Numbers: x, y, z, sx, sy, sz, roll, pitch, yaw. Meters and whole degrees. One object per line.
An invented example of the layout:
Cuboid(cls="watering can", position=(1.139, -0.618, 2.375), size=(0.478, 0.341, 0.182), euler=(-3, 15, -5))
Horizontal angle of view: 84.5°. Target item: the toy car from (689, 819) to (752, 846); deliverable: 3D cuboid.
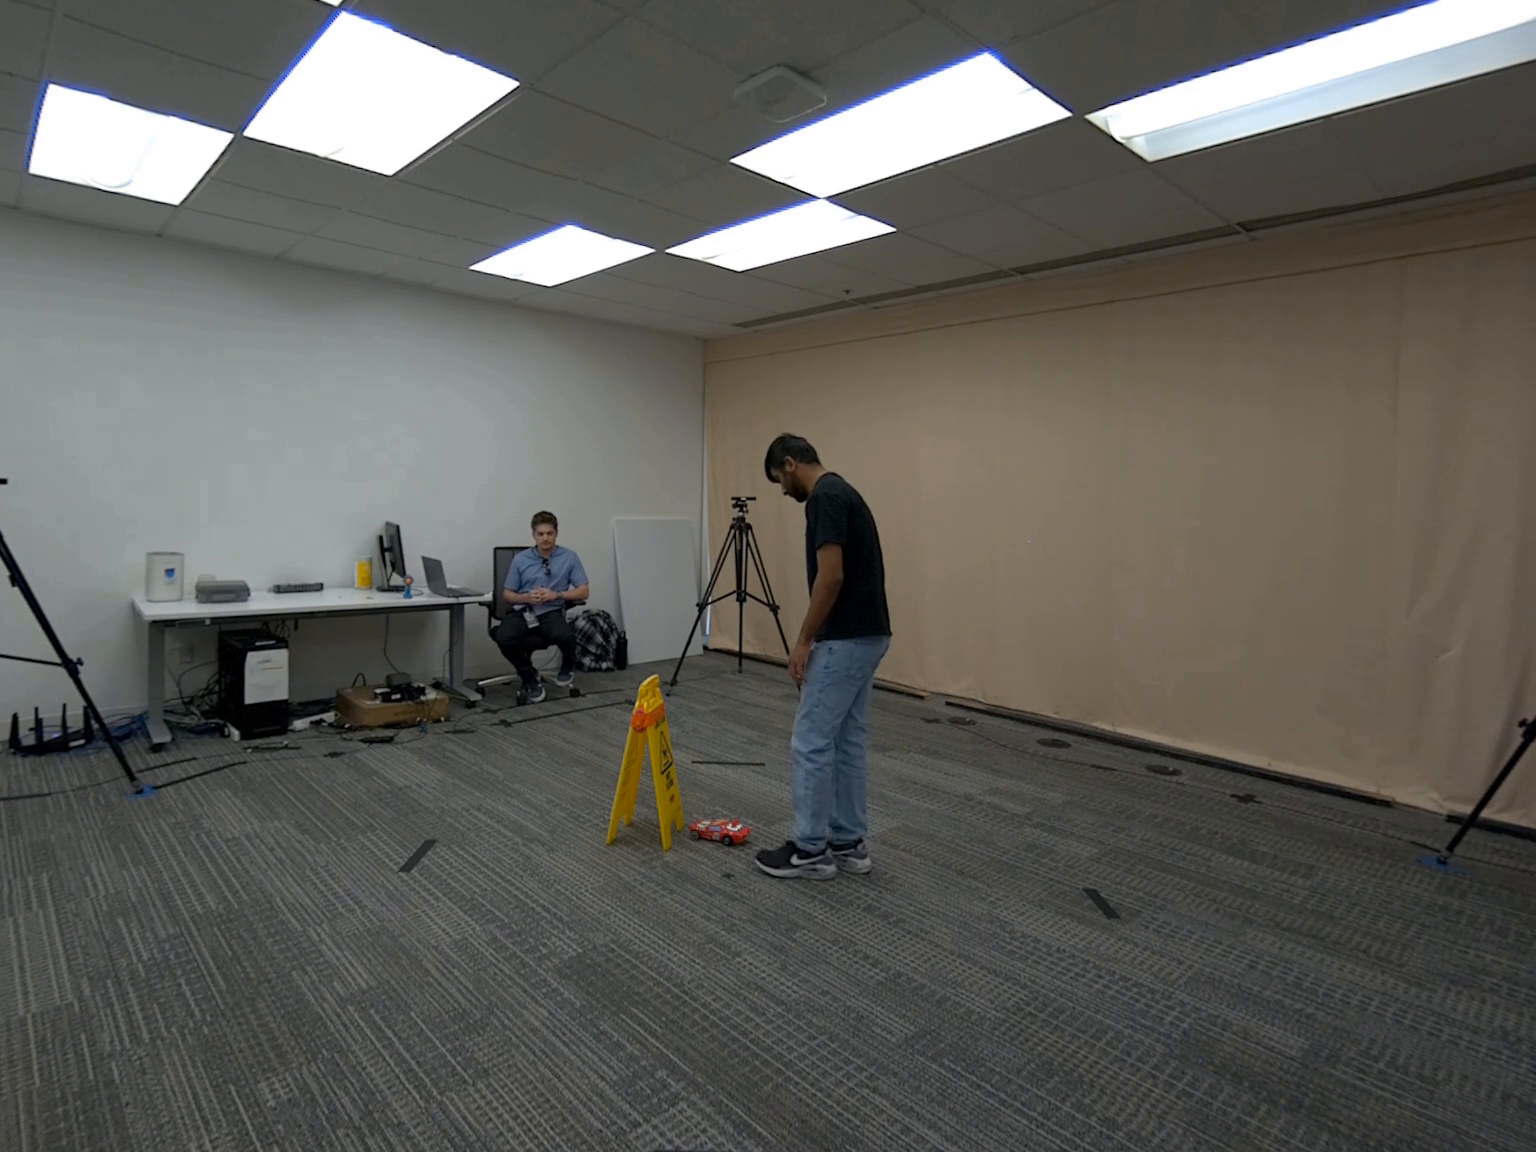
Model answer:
Cuboid(cls="toy car", position=(-0.197, 1.045, 3.431), size=(0.258, 0.083, 0.128), euler=(-9, -2, 20))
